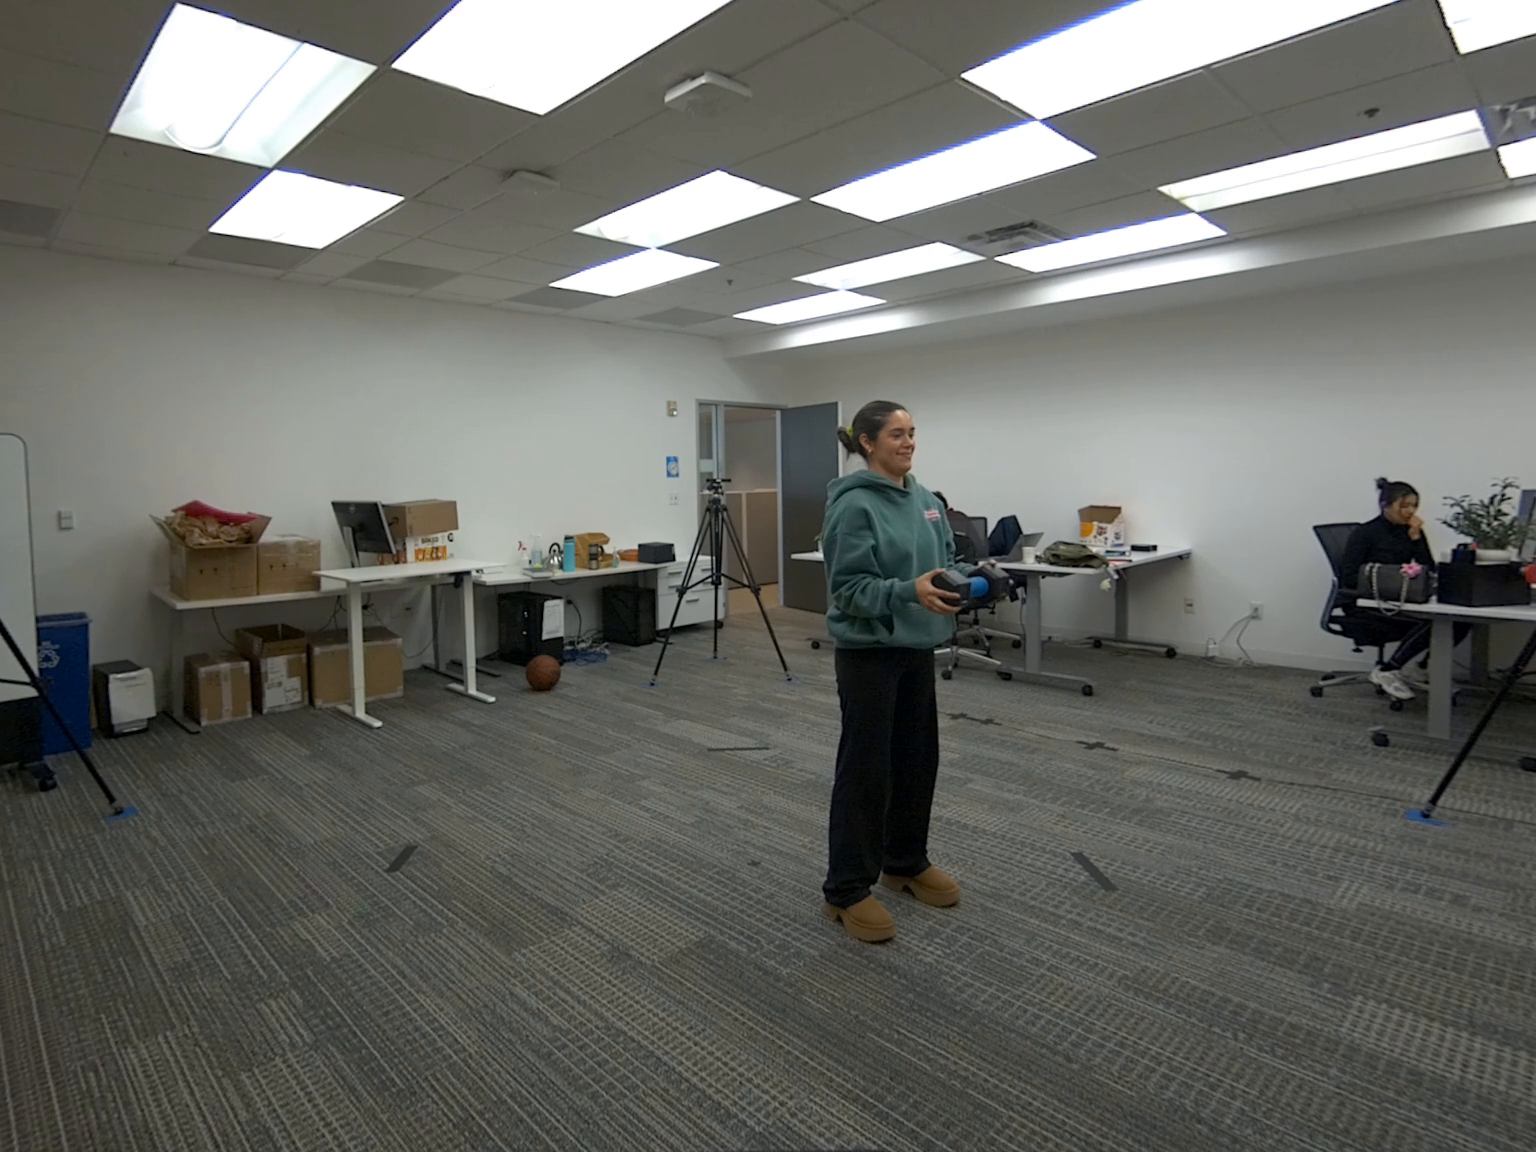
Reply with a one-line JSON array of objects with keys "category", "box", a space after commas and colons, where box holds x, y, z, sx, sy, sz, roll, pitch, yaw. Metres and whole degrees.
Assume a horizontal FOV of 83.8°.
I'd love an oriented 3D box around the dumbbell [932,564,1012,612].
[{"category": "dumbbell", "box": [0.580, 0.035, 2.517, 0.286, 0.107, 0.127, -5, 40, -45]}]
